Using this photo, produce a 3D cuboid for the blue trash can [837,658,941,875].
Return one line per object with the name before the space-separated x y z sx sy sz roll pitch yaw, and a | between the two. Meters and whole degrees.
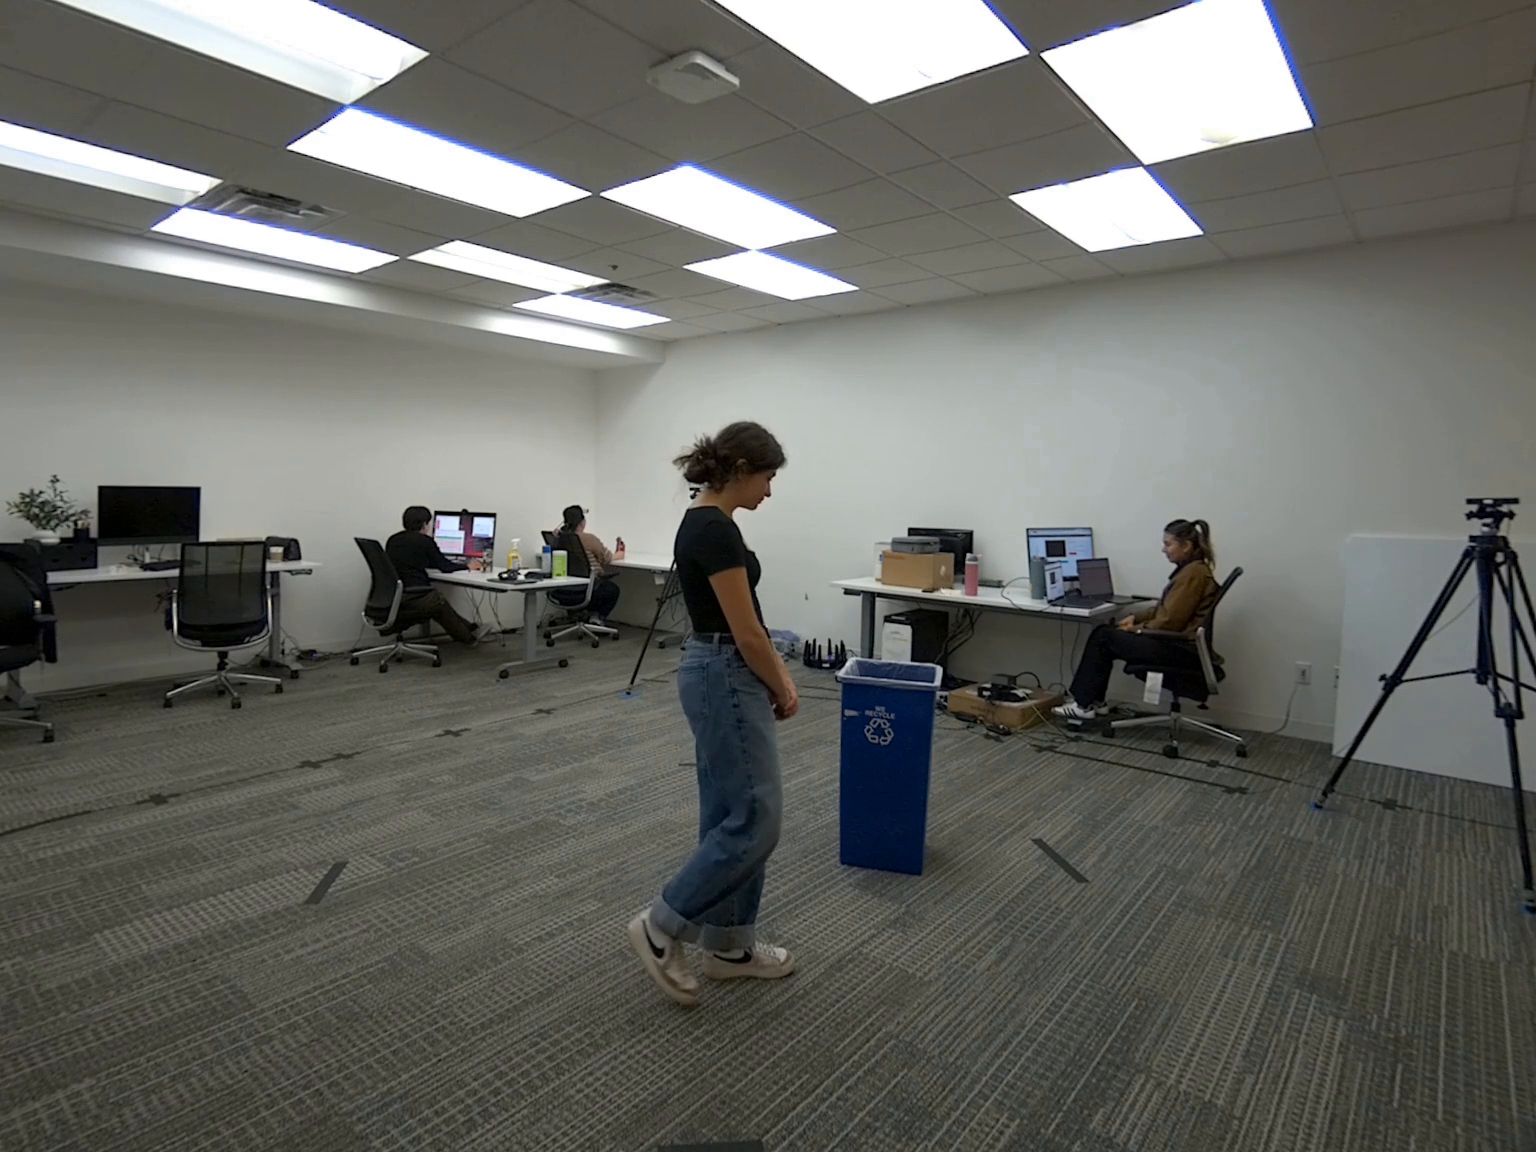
blue trash can | 0.456 0.709 3.253 0.380 0.711 0.373 2 4 15
